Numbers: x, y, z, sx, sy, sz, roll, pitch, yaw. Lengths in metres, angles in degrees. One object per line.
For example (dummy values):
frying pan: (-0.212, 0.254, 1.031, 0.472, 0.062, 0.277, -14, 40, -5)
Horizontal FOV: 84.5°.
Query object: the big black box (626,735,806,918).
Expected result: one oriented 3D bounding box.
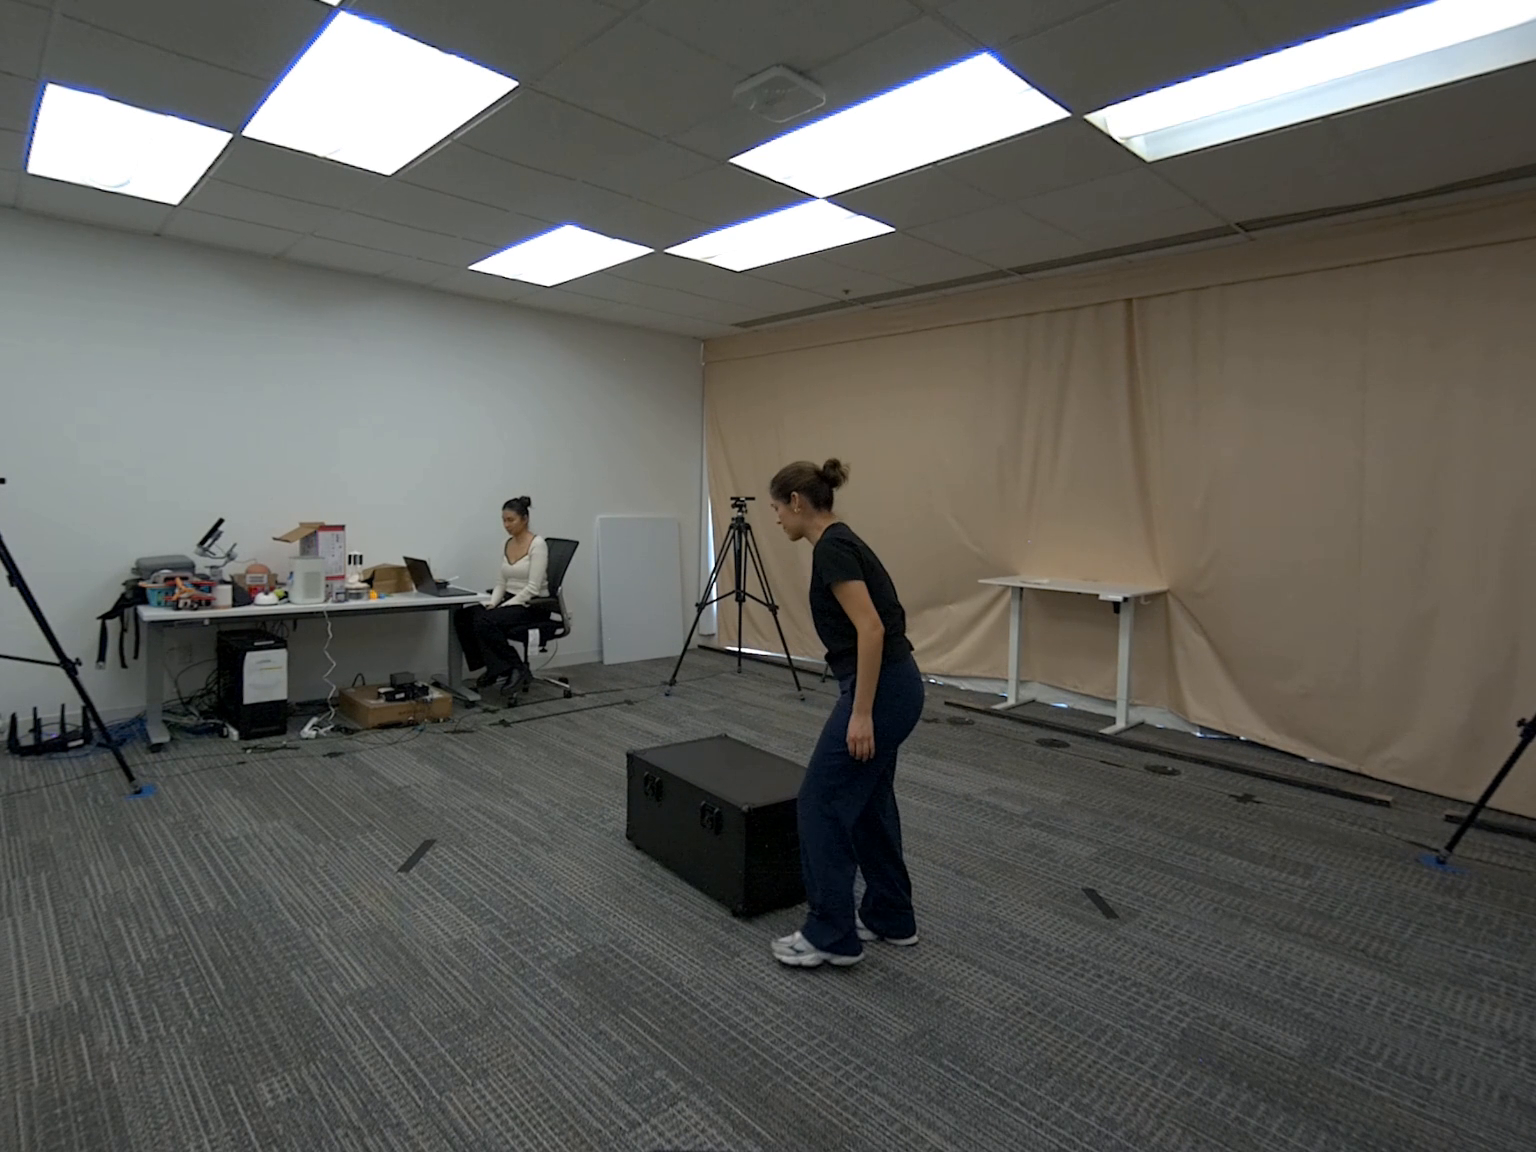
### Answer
big black box: (-0.126, 0.914, 3.158, 0.510, 0.395, 0.883, -2, 6, -38)
